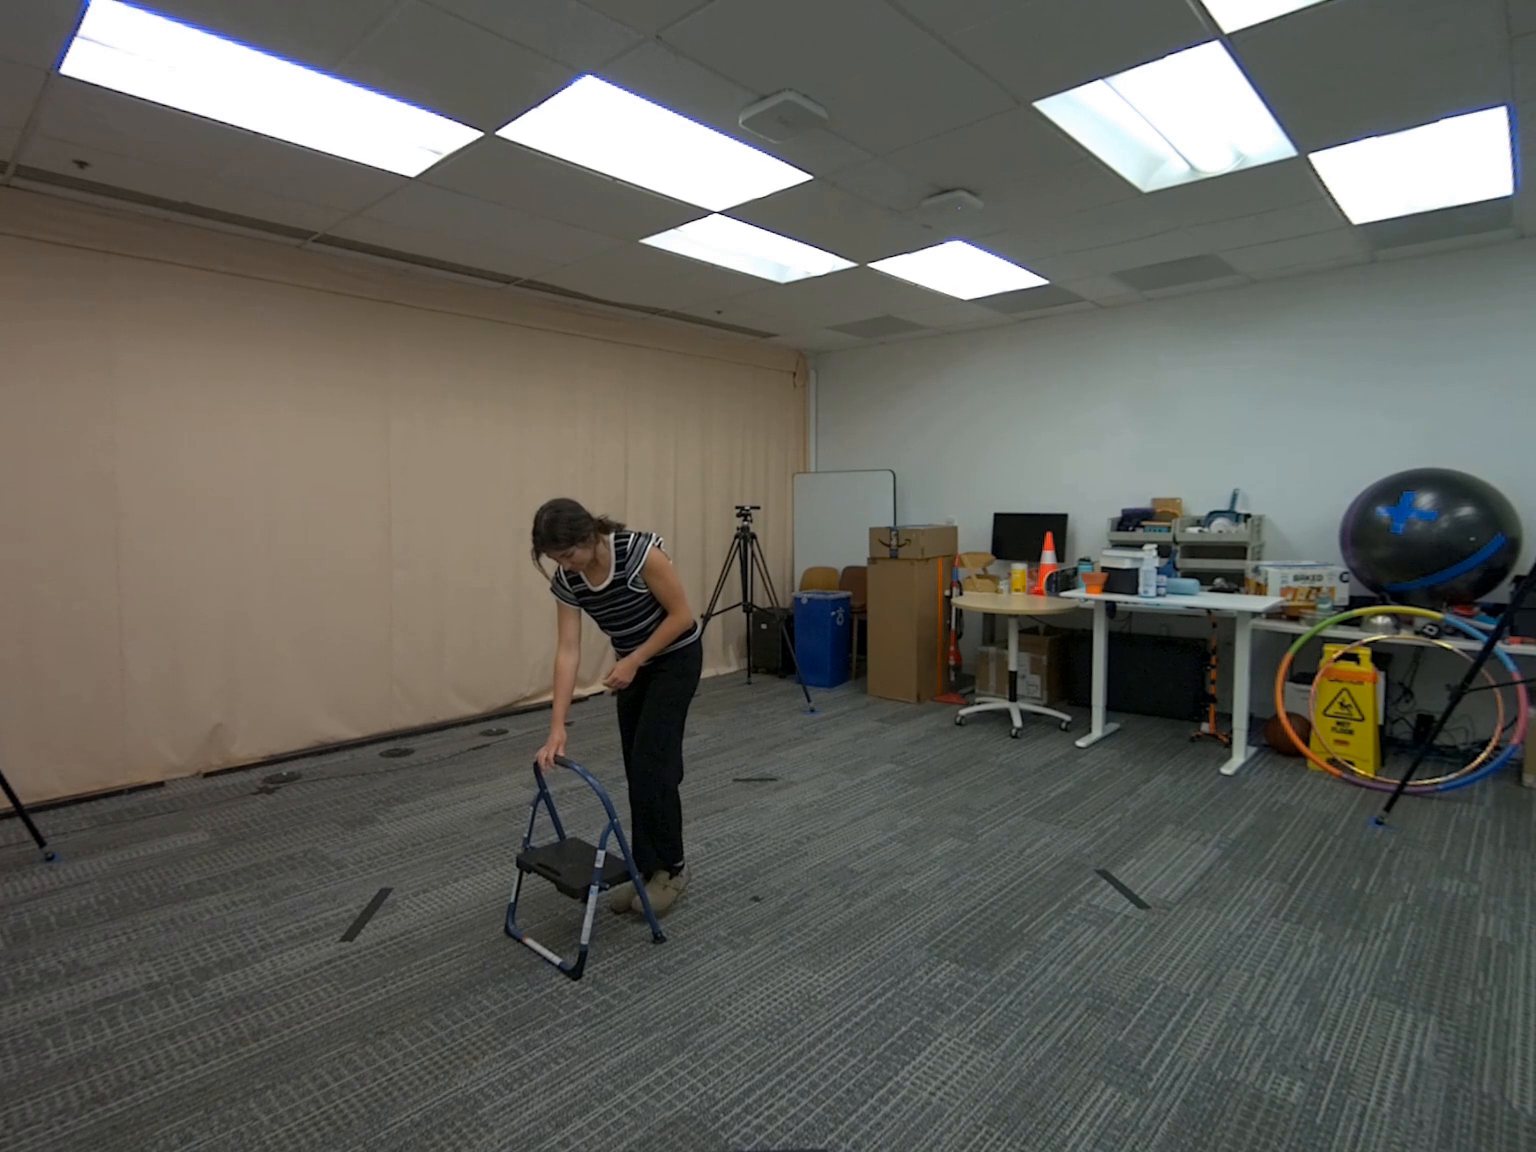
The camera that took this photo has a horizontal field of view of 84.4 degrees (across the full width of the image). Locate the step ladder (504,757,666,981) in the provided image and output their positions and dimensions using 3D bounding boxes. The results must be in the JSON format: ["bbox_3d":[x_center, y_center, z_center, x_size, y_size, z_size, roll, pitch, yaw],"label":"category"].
[{"bbox_3d":[-0.603,0.870,2.715,0.445,0.605,0.338,2,4,43],"label":"step ladder"}]
